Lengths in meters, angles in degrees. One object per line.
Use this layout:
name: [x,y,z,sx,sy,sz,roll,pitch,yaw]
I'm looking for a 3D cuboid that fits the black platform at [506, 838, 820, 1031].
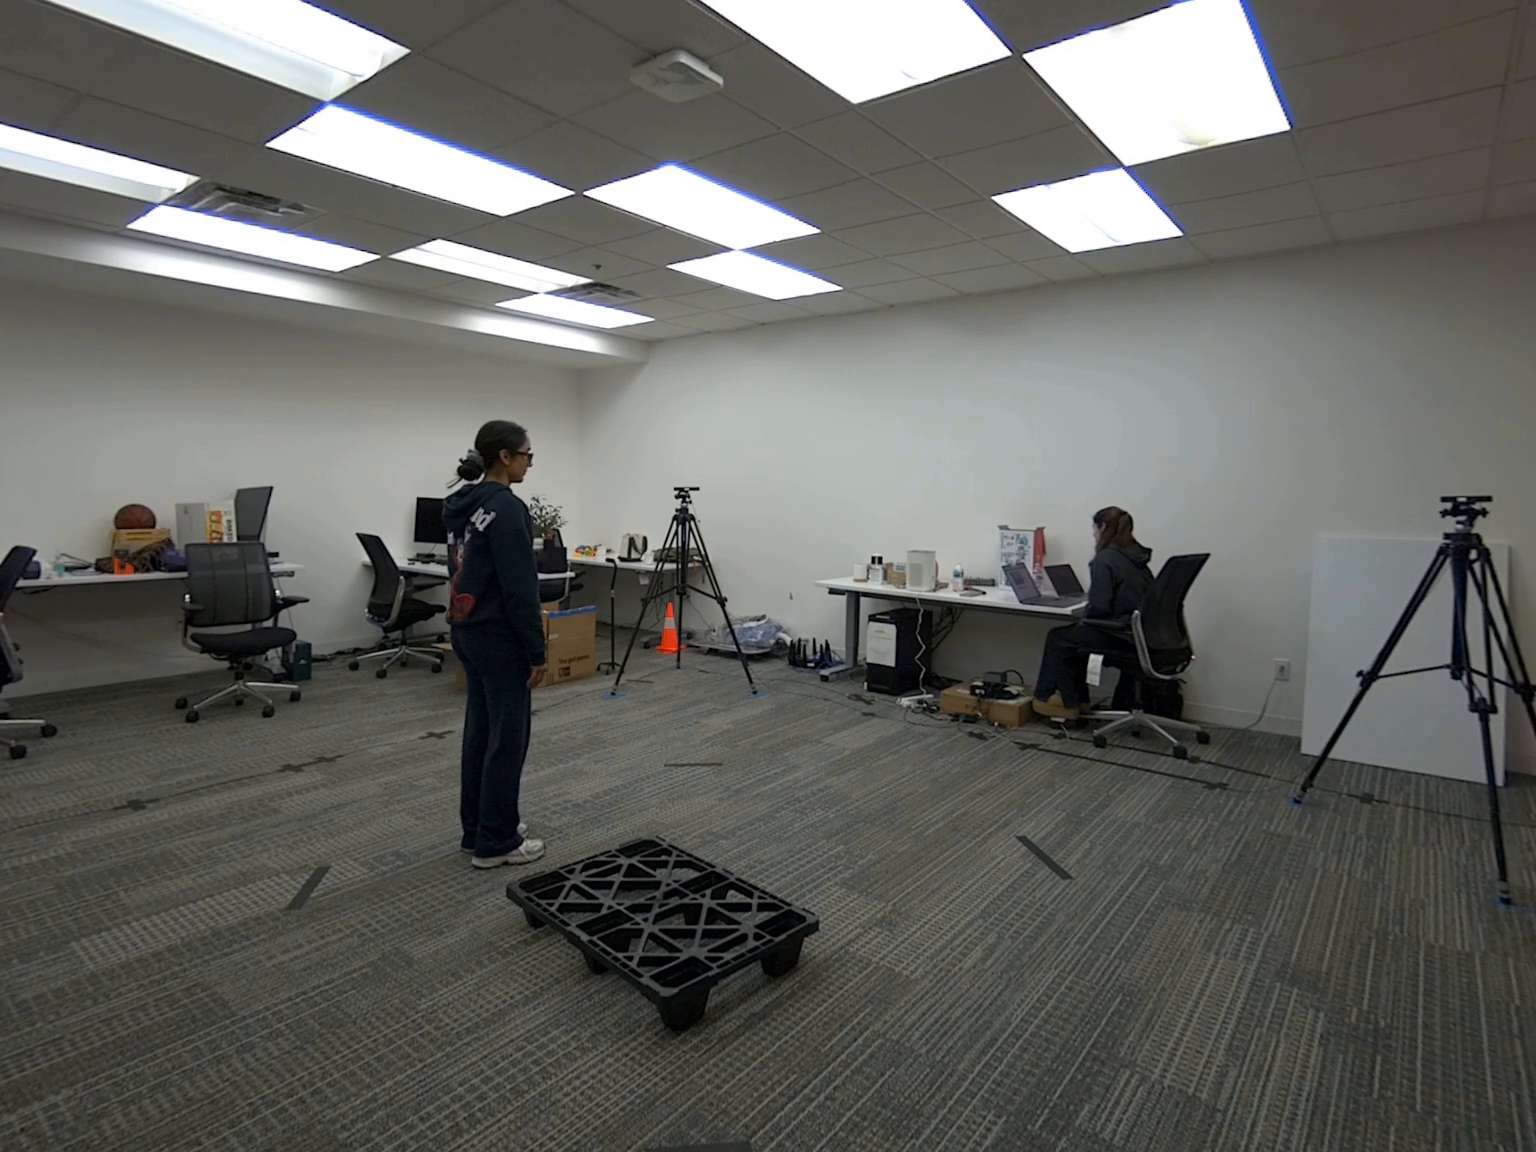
black platform: [-0.347,1.048,2.593,0.587,0.143,0.833,-4,8,-44]
